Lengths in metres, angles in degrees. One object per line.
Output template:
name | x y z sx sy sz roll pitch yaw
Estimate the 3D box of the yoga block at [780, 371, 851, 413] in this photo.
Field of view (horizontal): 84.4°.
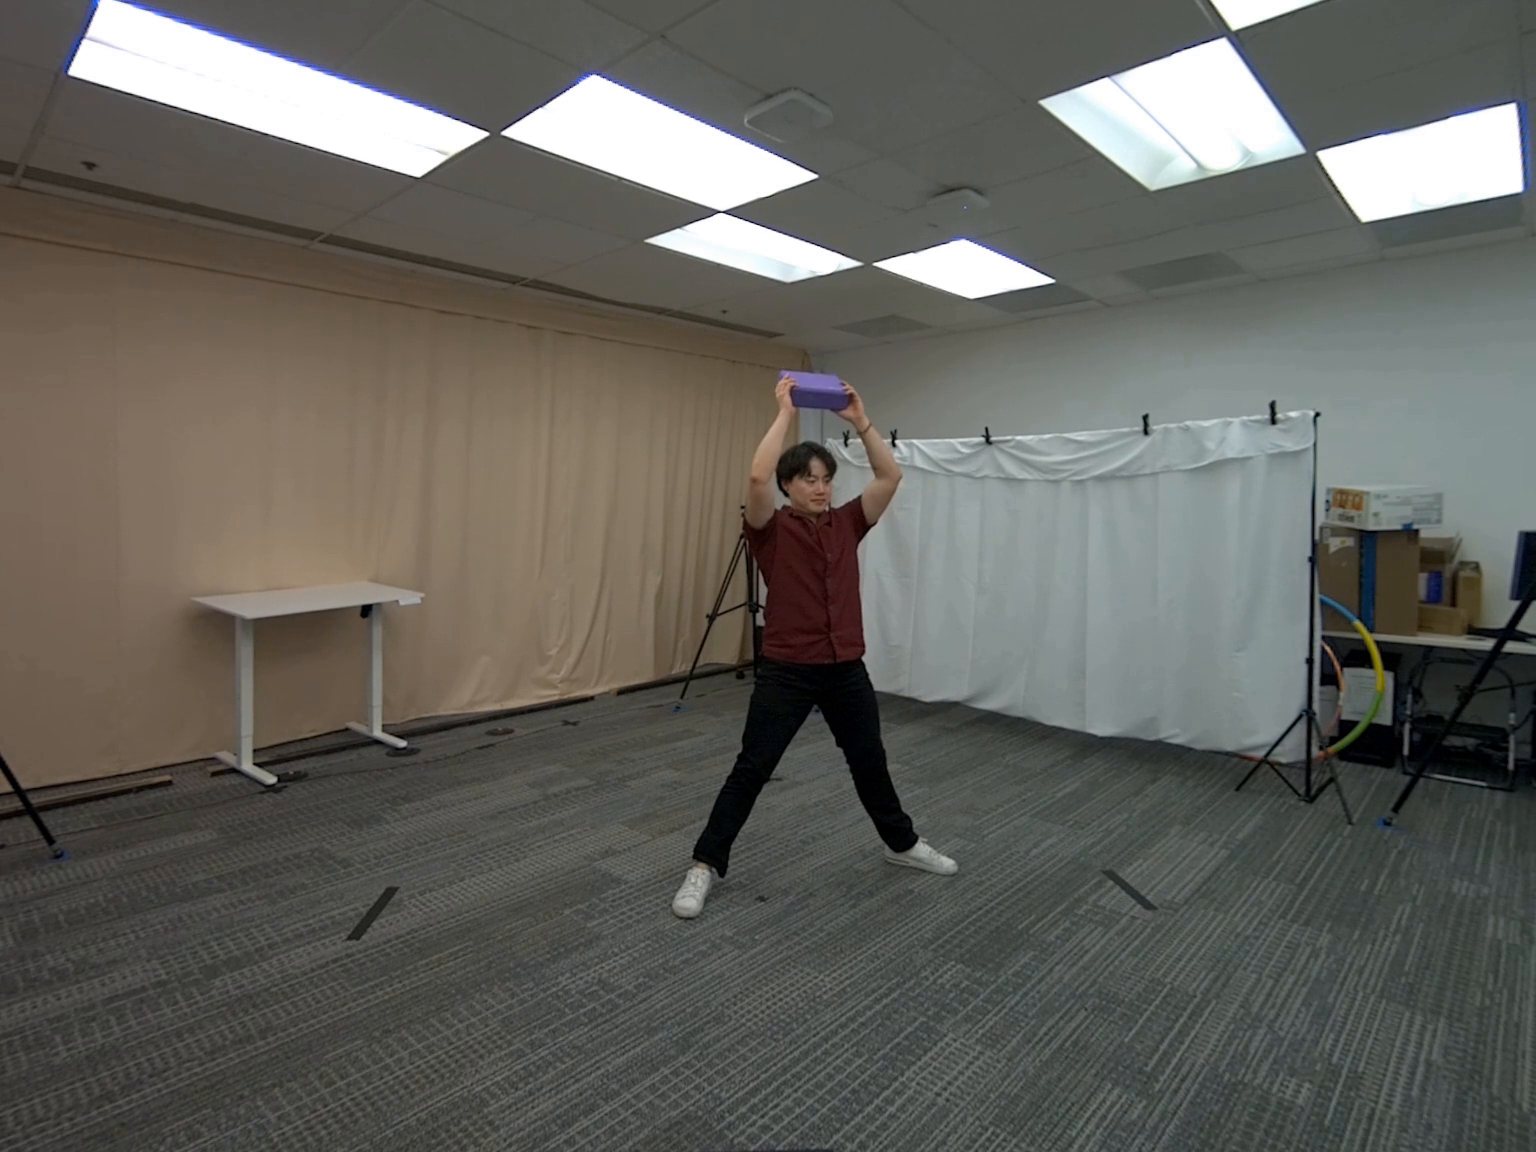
yoga block | 0.173 -0.665 2.993 0.224 0.076 0.153 0 38 -21
